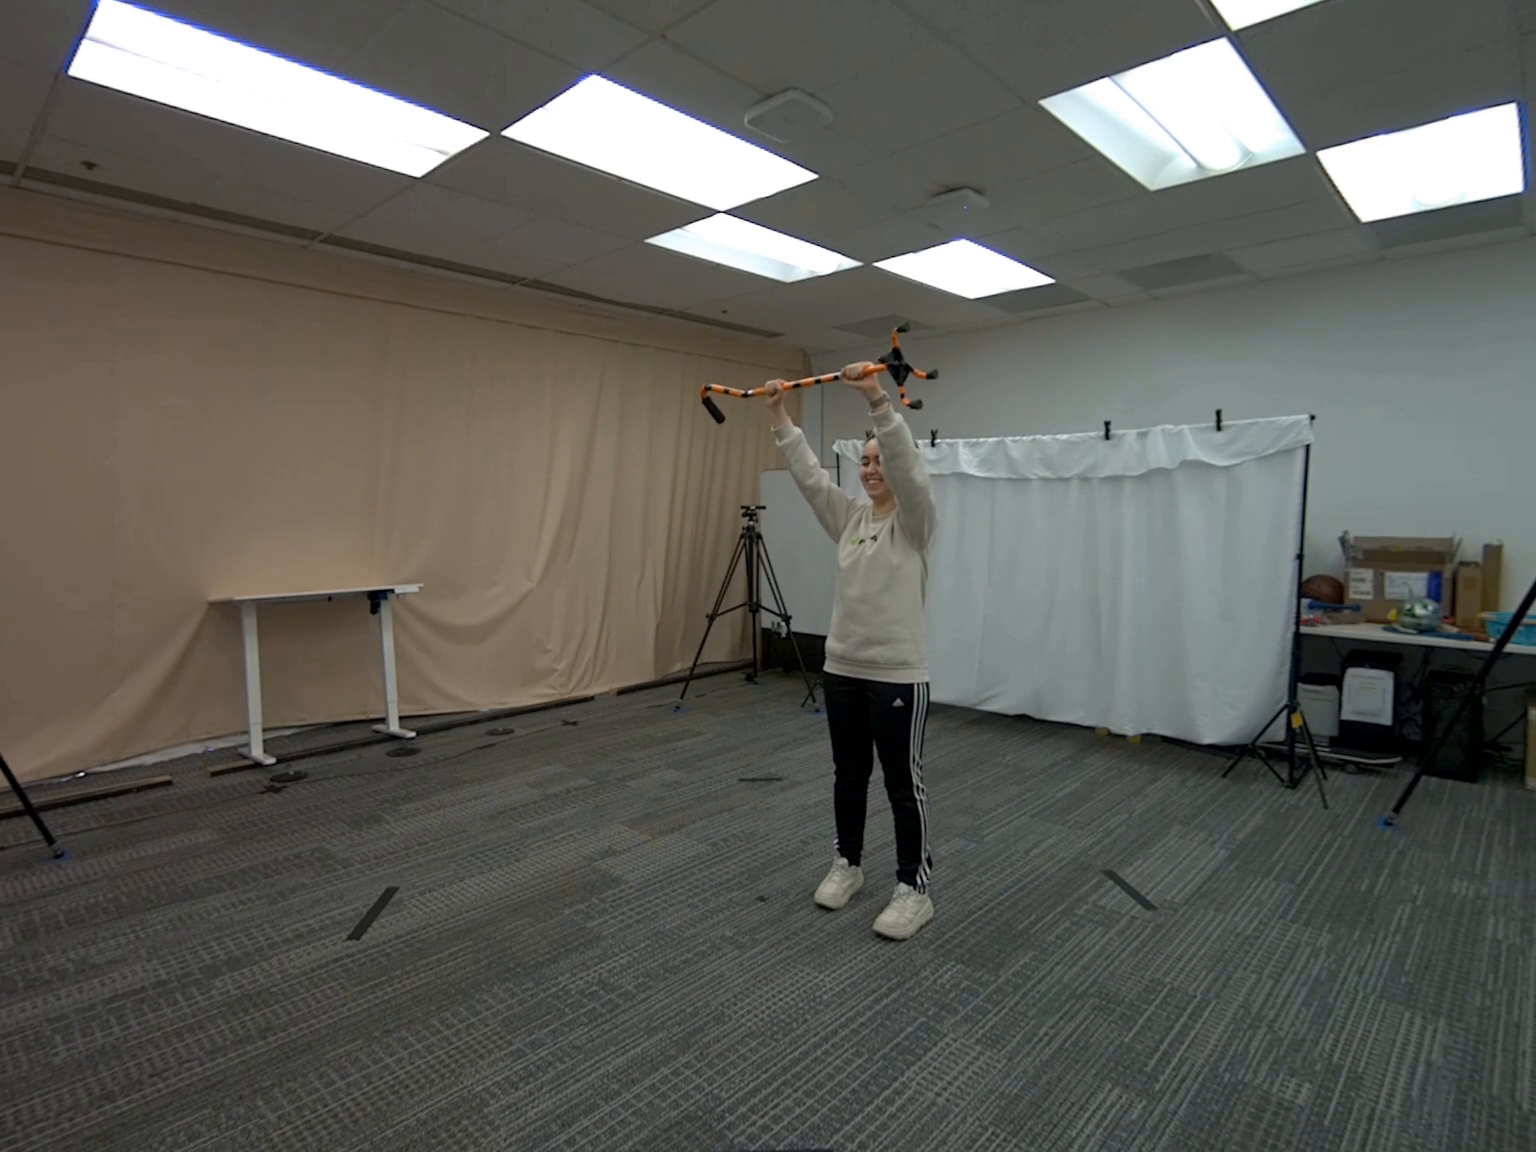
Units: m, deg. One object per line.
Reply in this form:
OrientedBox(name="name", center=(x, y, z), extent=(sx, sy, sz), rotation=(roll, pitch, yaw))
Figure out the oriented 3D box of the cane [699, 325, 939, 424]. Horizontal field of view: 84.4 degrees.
OrientedBox(name="cane", center=(0.087, -0.600, 2.683), extent=(0.938, 0.151, 0.200), rotation=(3, -40, 48))
